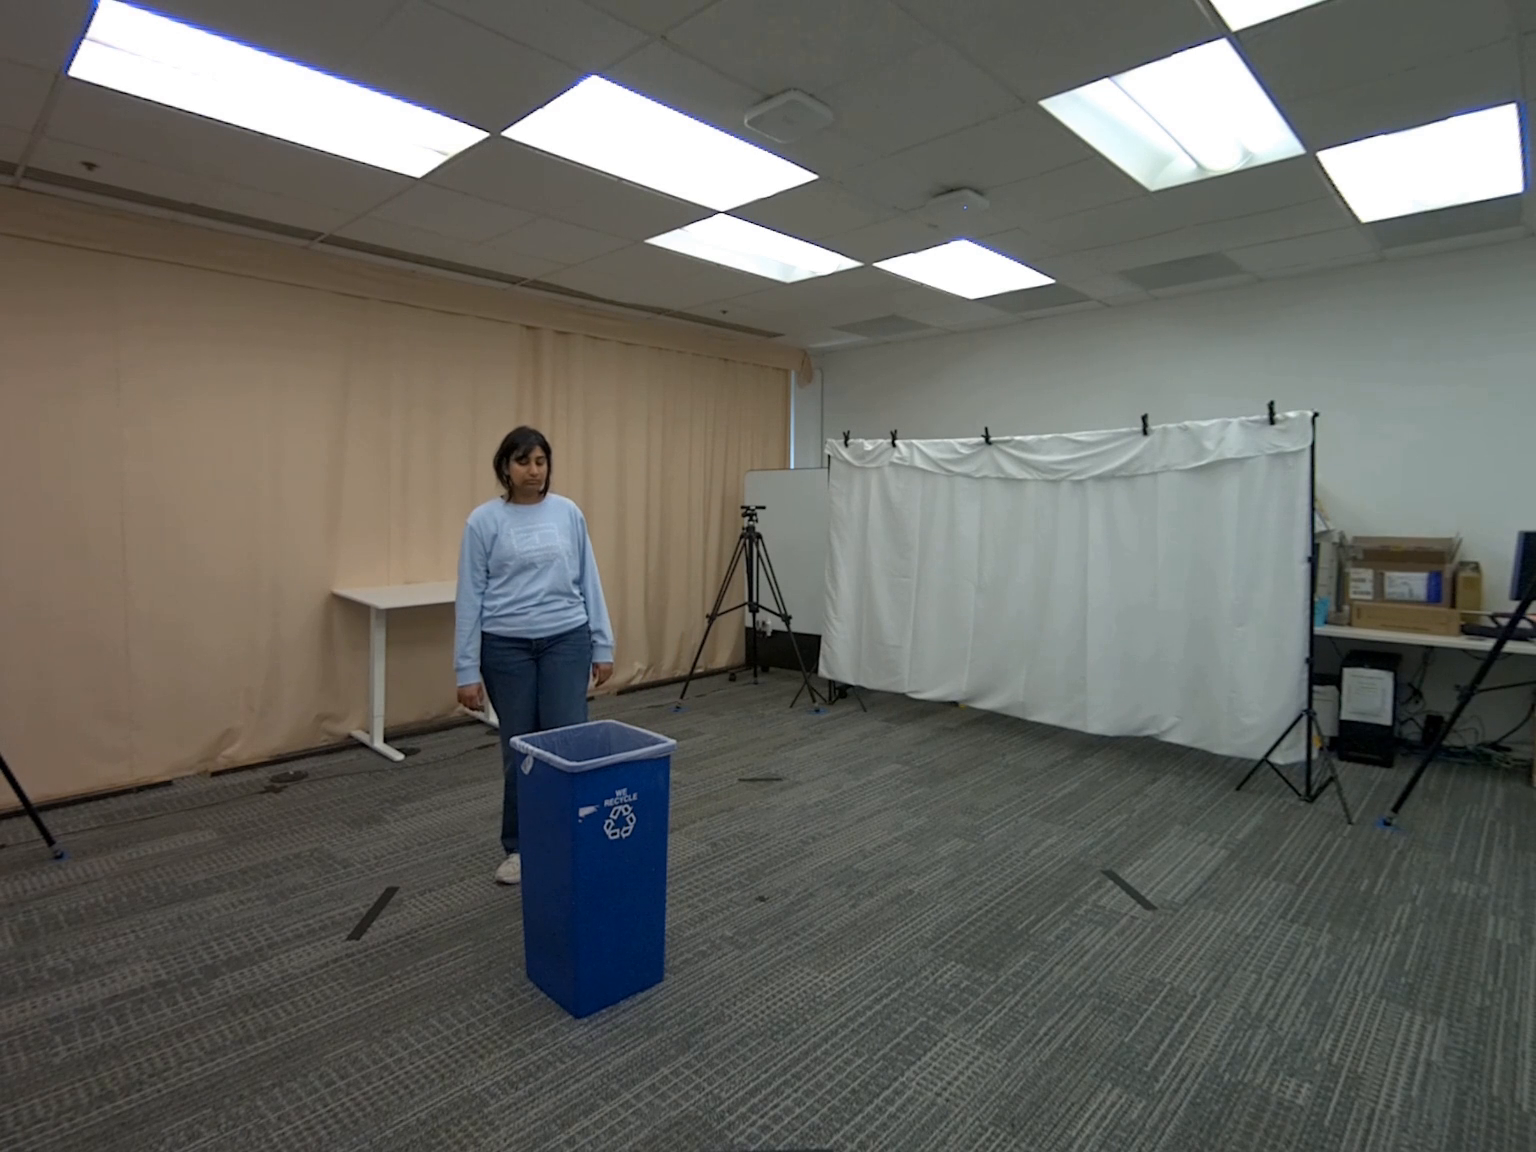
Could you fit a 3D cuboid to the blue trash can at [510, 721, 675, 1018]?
[{"bbox_3d":[-0.501,0.835,2.468,0.366,0.712,0.386,-2,3,-43],"label":"blue trash can"}]
